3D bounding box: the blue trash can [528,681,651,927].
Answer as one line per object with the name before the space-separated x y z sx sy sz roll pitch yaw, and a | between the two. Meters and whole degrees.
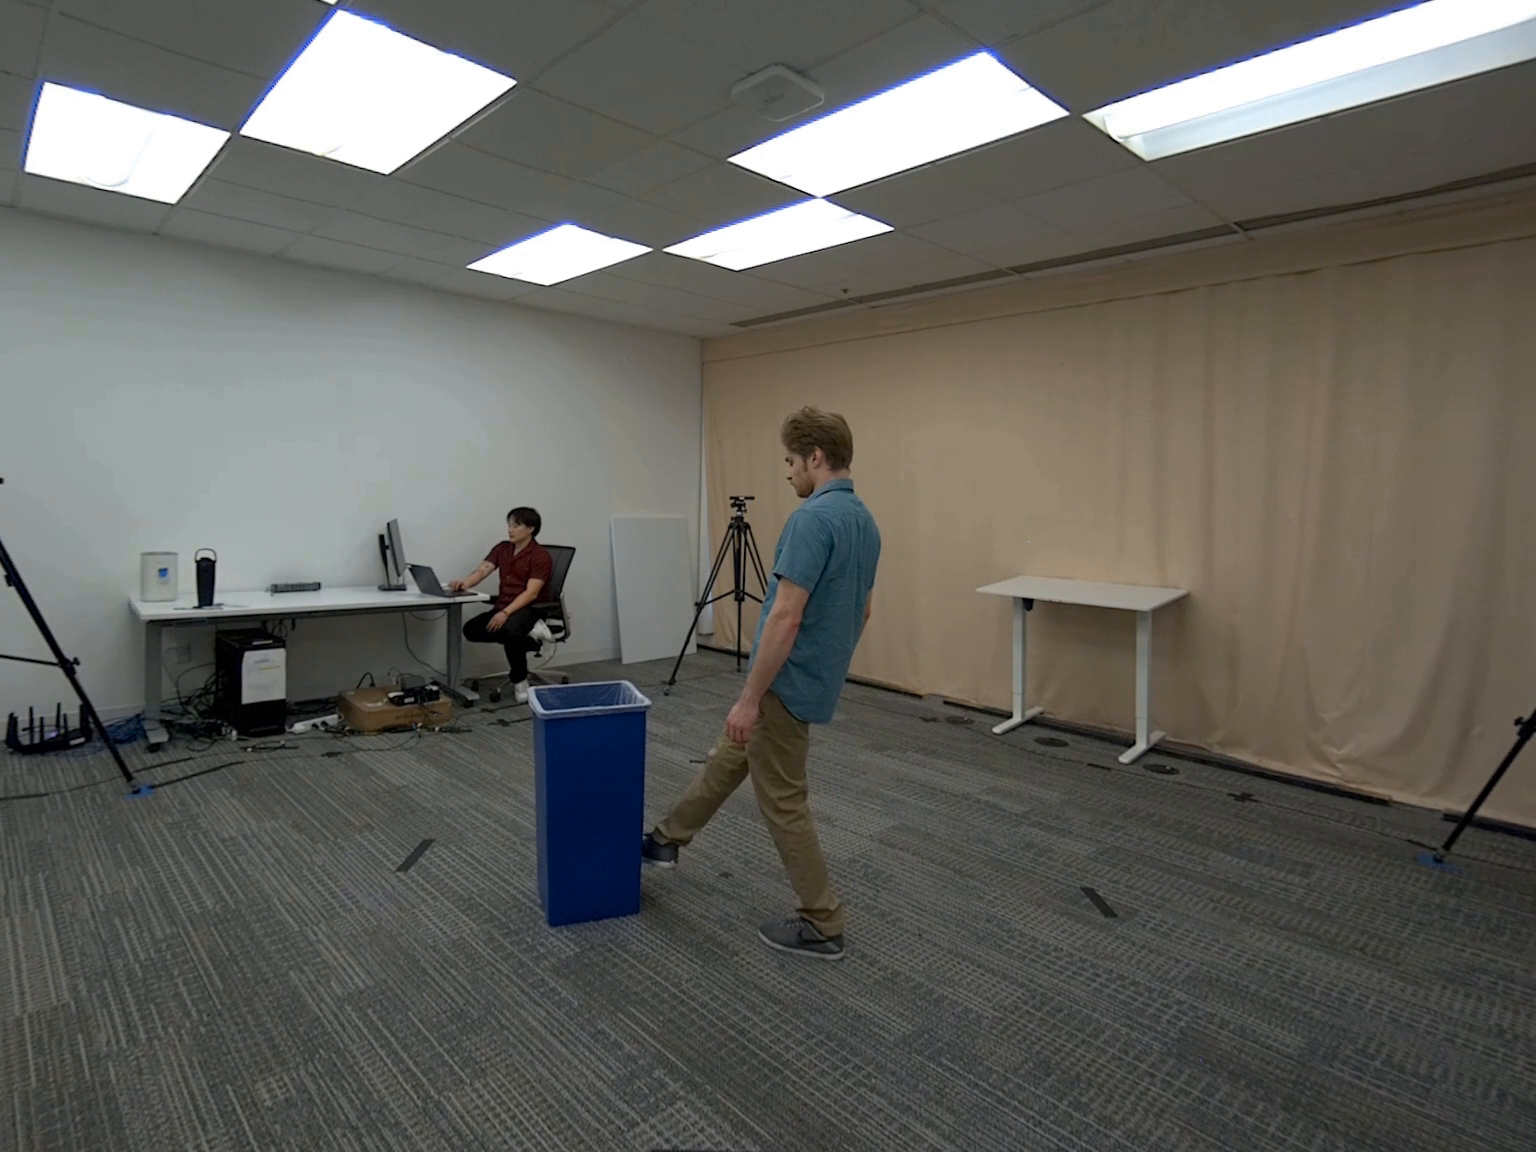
blue trash can | -0.624 0.756 2.866 0.368 0.712 0.385 -1 3 -22
